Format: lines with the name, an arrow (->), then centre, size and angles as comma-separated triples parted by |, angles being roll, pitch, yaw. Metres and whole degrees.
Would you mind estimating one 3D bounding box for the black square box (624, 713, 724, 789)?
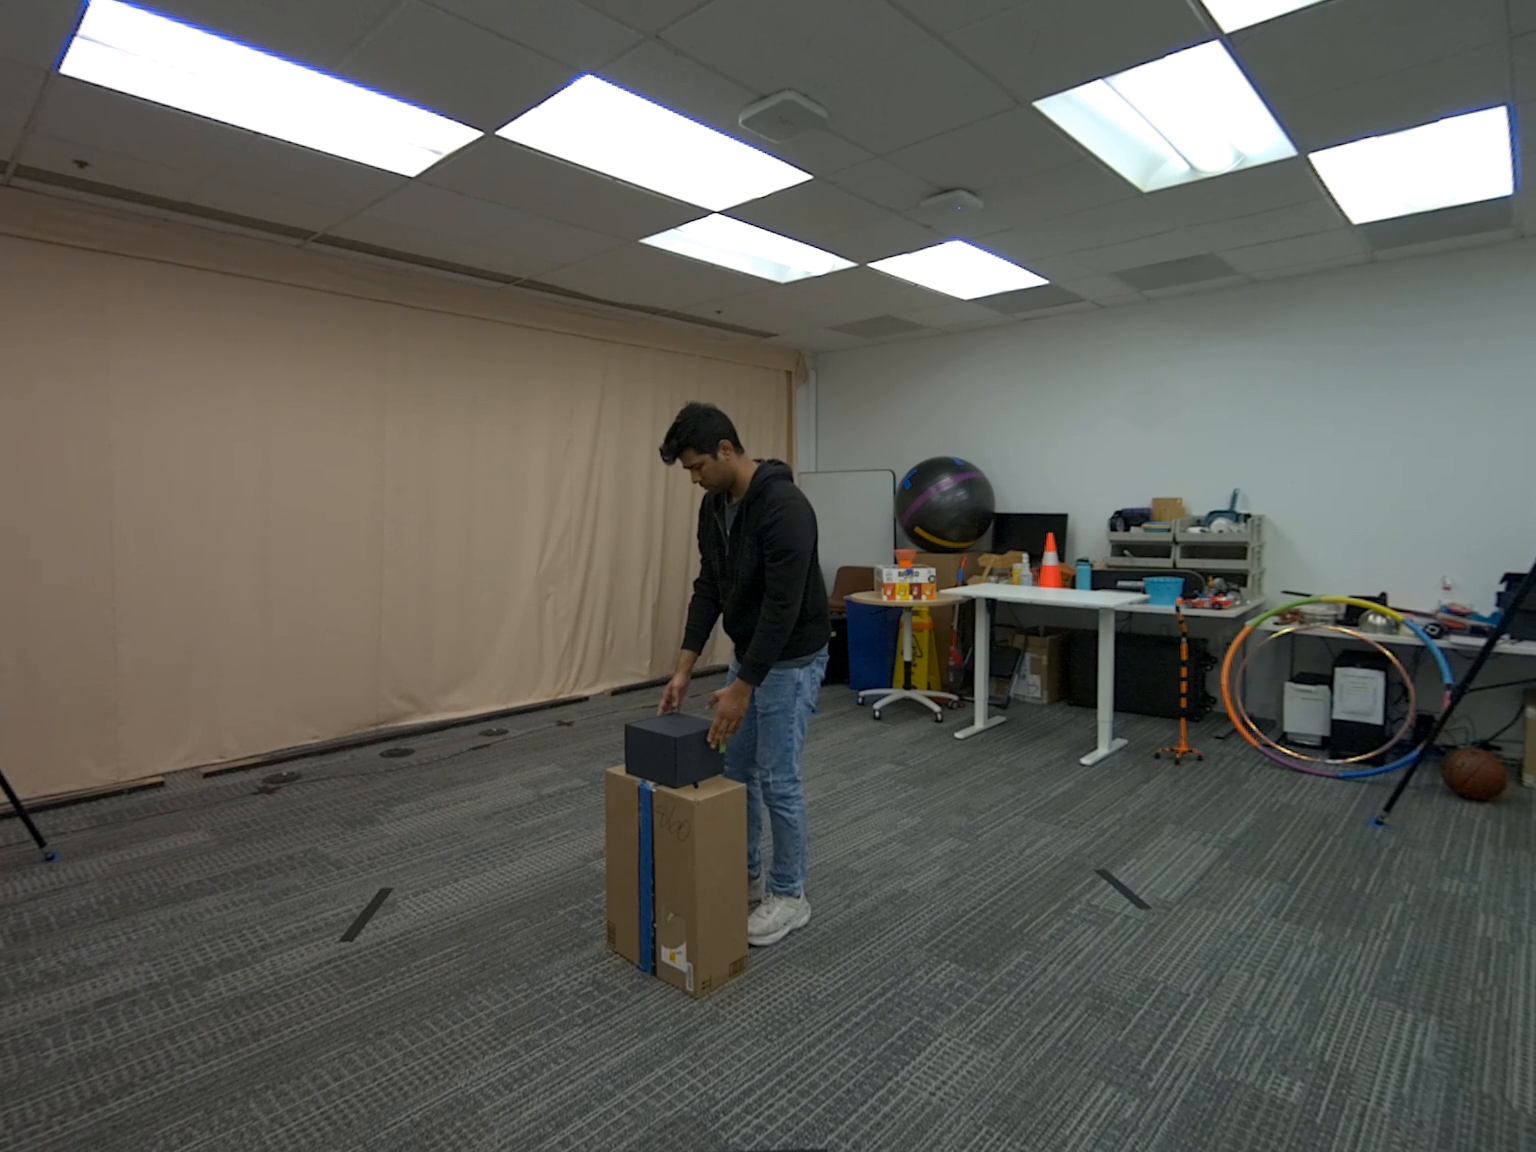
black square box -> -0.286, 0.532, 2.606 | 0.235, 0.155, 0.210 | 4, 5, 42
